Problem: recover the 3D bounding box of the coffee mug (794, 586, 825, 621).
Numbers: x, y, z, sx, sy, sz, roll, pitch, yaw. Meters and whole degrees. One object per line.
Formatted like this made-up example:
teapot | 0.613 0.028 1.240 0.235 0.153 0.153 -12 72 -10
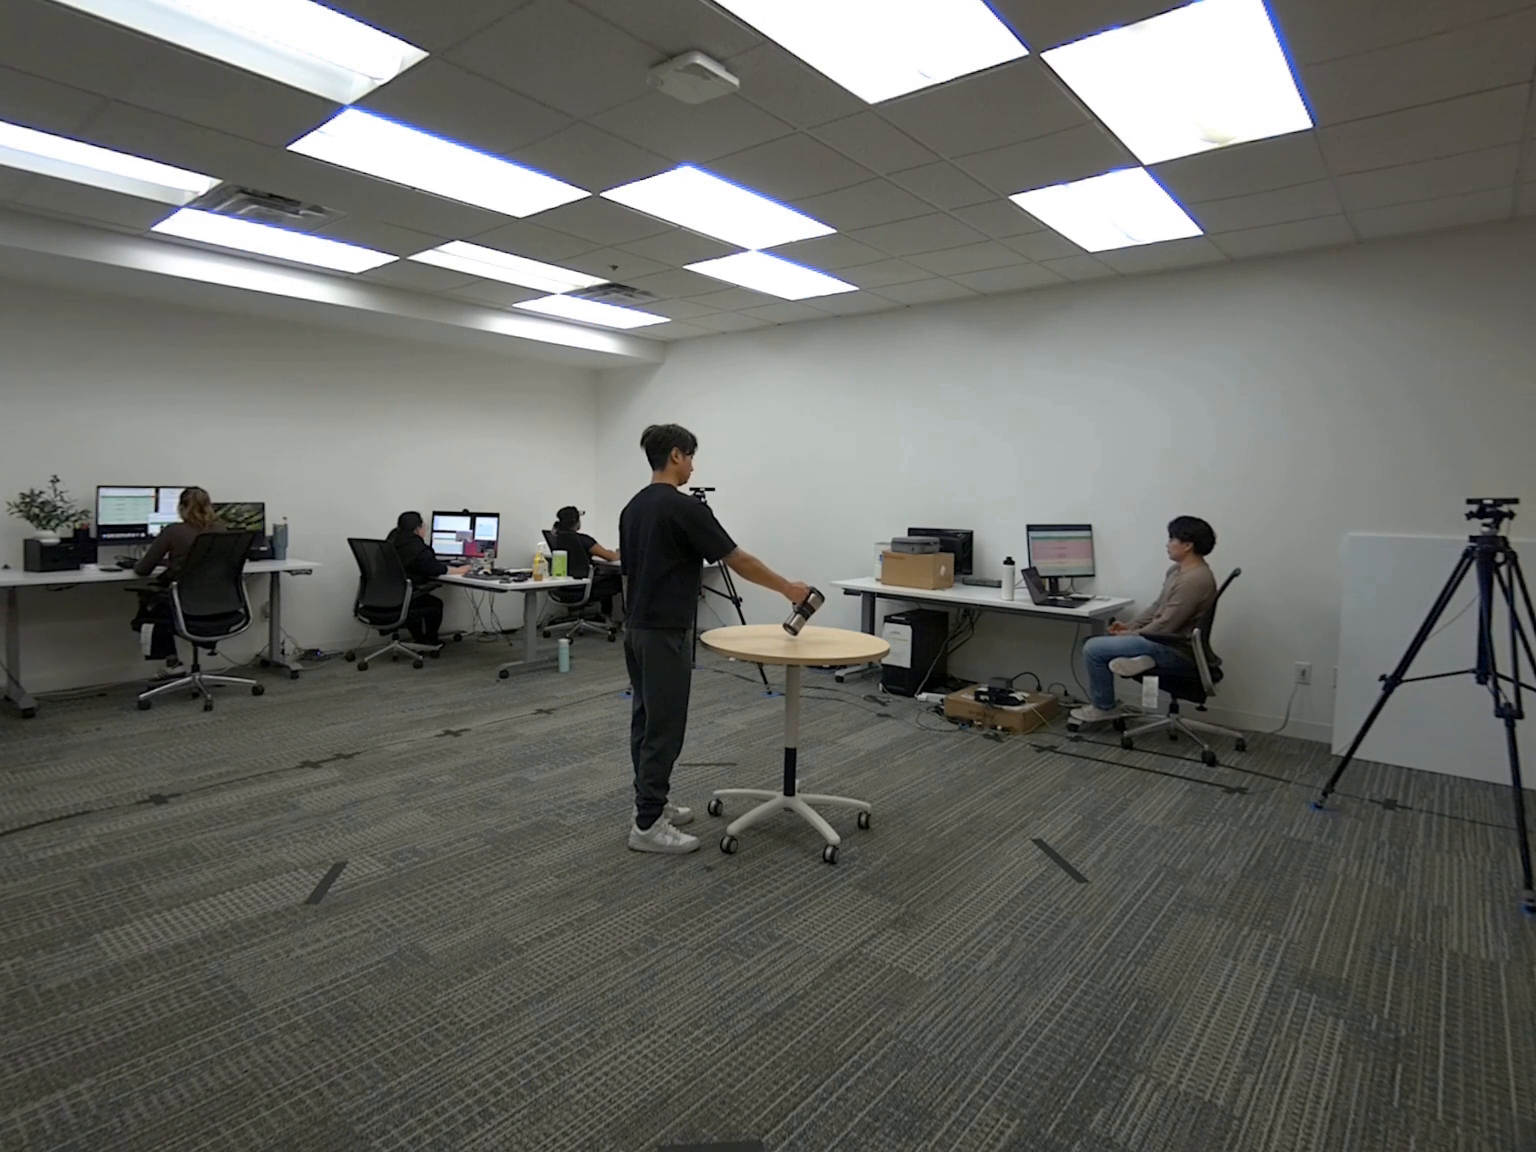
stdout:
coffee mug | 0.120 0.138 3.490 0.126 0.203 0.084 30 -13 29
